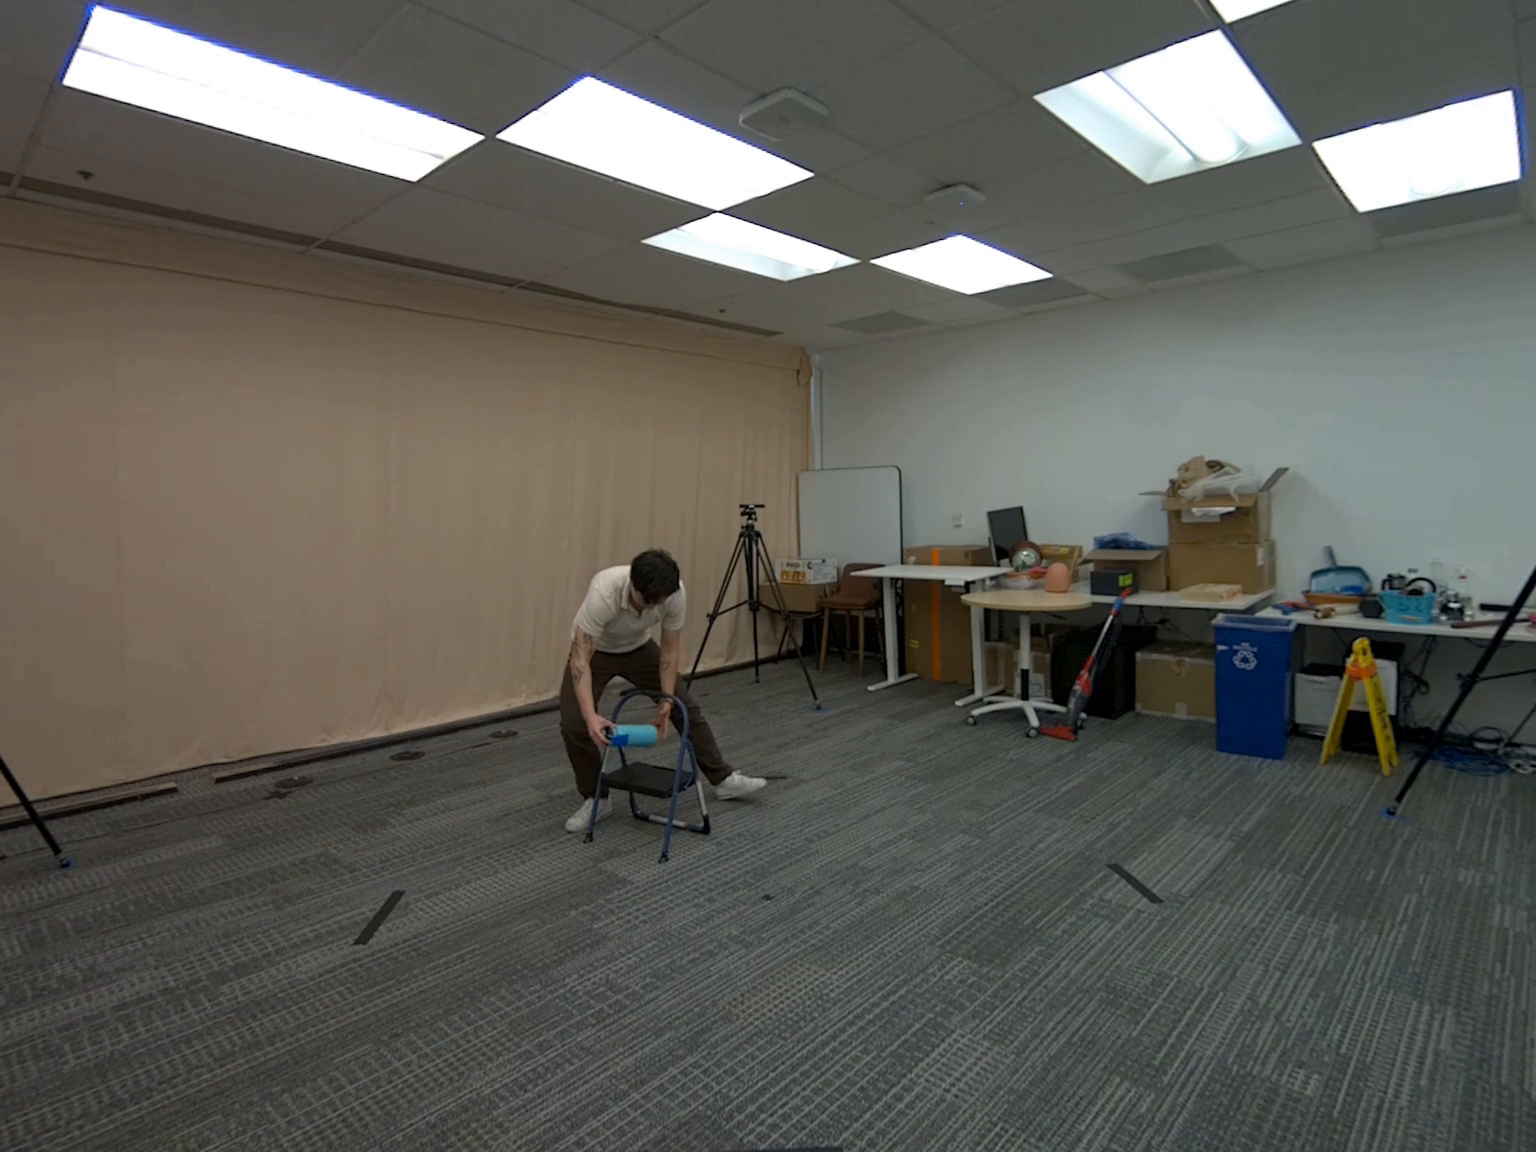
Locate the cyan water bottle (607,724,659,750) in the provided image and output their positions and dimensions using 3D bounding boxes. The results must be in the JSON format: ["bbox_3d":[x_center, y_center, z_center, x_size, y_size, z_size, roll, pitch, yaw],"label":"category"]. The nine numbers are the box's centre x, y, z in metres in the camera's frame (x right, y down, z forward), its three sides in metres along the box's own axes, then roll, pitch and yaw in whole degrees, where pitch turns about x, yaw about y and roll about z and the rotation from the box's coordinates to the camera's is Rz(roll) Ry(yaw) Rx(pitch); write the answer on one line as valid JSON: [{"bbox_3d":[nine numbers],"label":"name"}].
[{"bbox_3d":[-0.596,0.653,3.495,0.095,0.092,0.274,2,-6,37],"label":"cyan water bottle"}]
